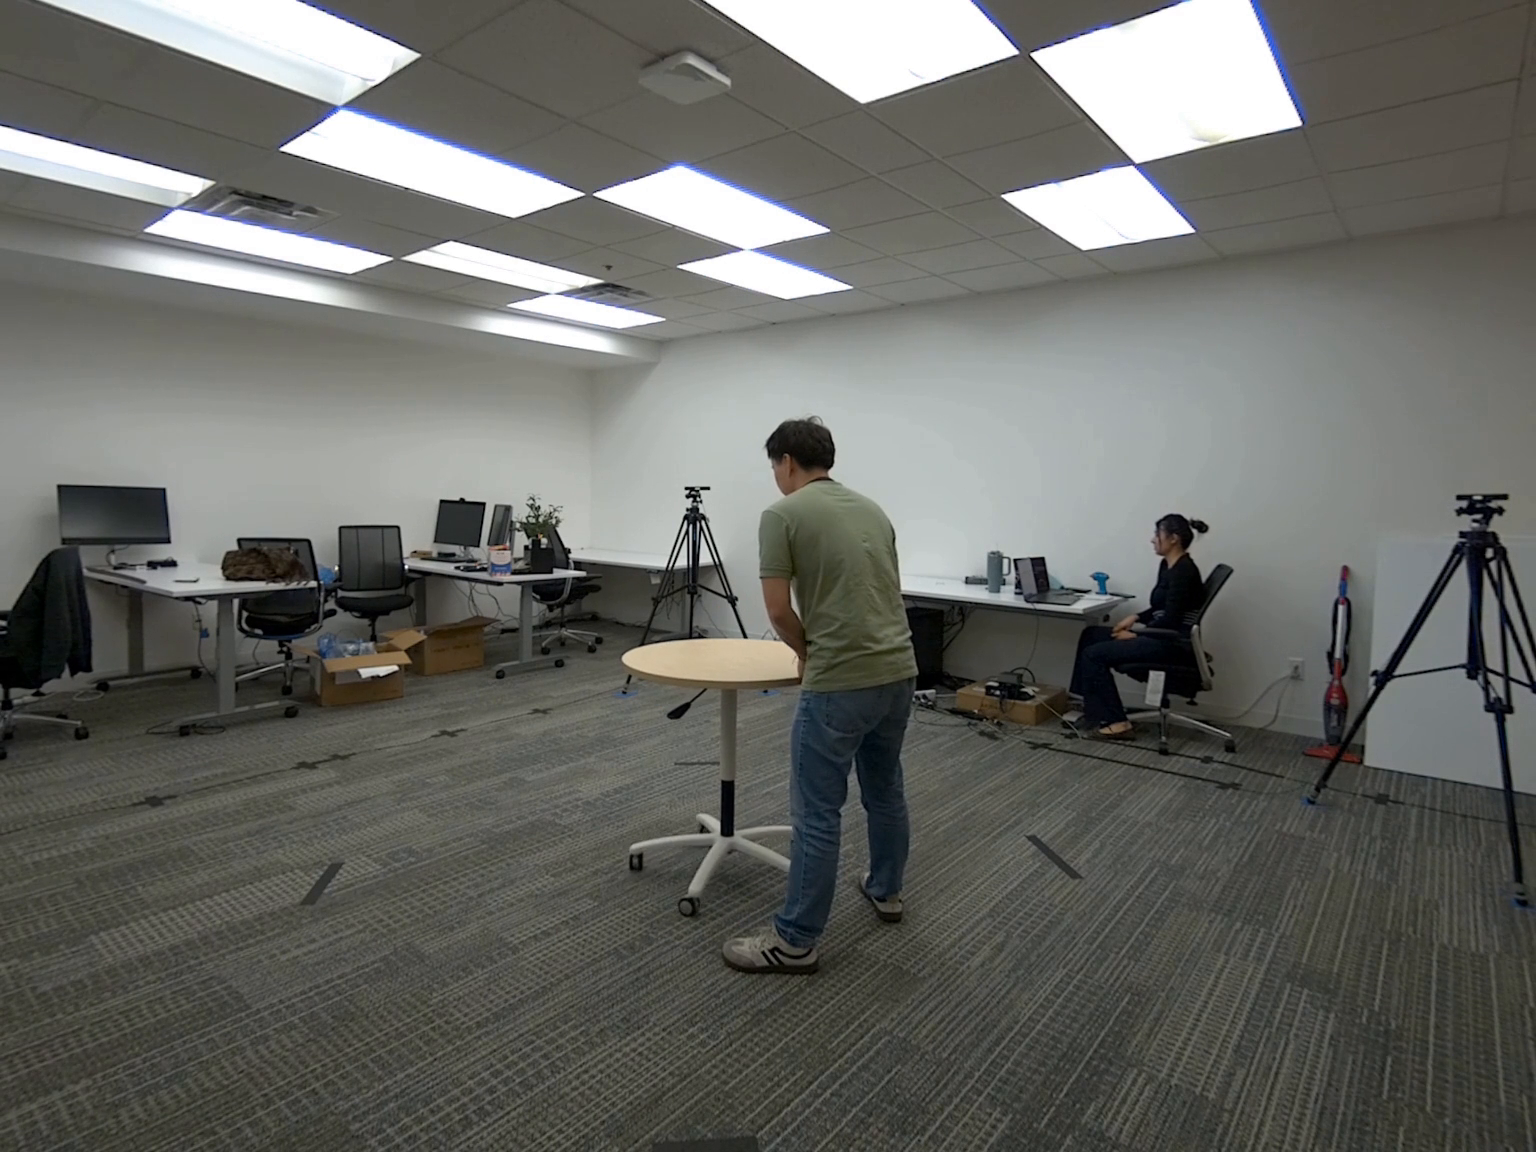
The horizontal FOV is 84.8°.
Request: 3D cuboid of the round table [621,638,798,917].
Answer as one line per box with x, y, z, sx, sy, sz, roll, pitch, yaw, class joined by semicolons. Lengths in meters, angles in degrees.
-0.160;0.681;3.053;0.763;0.791;0.768;1;4;-2;round table
